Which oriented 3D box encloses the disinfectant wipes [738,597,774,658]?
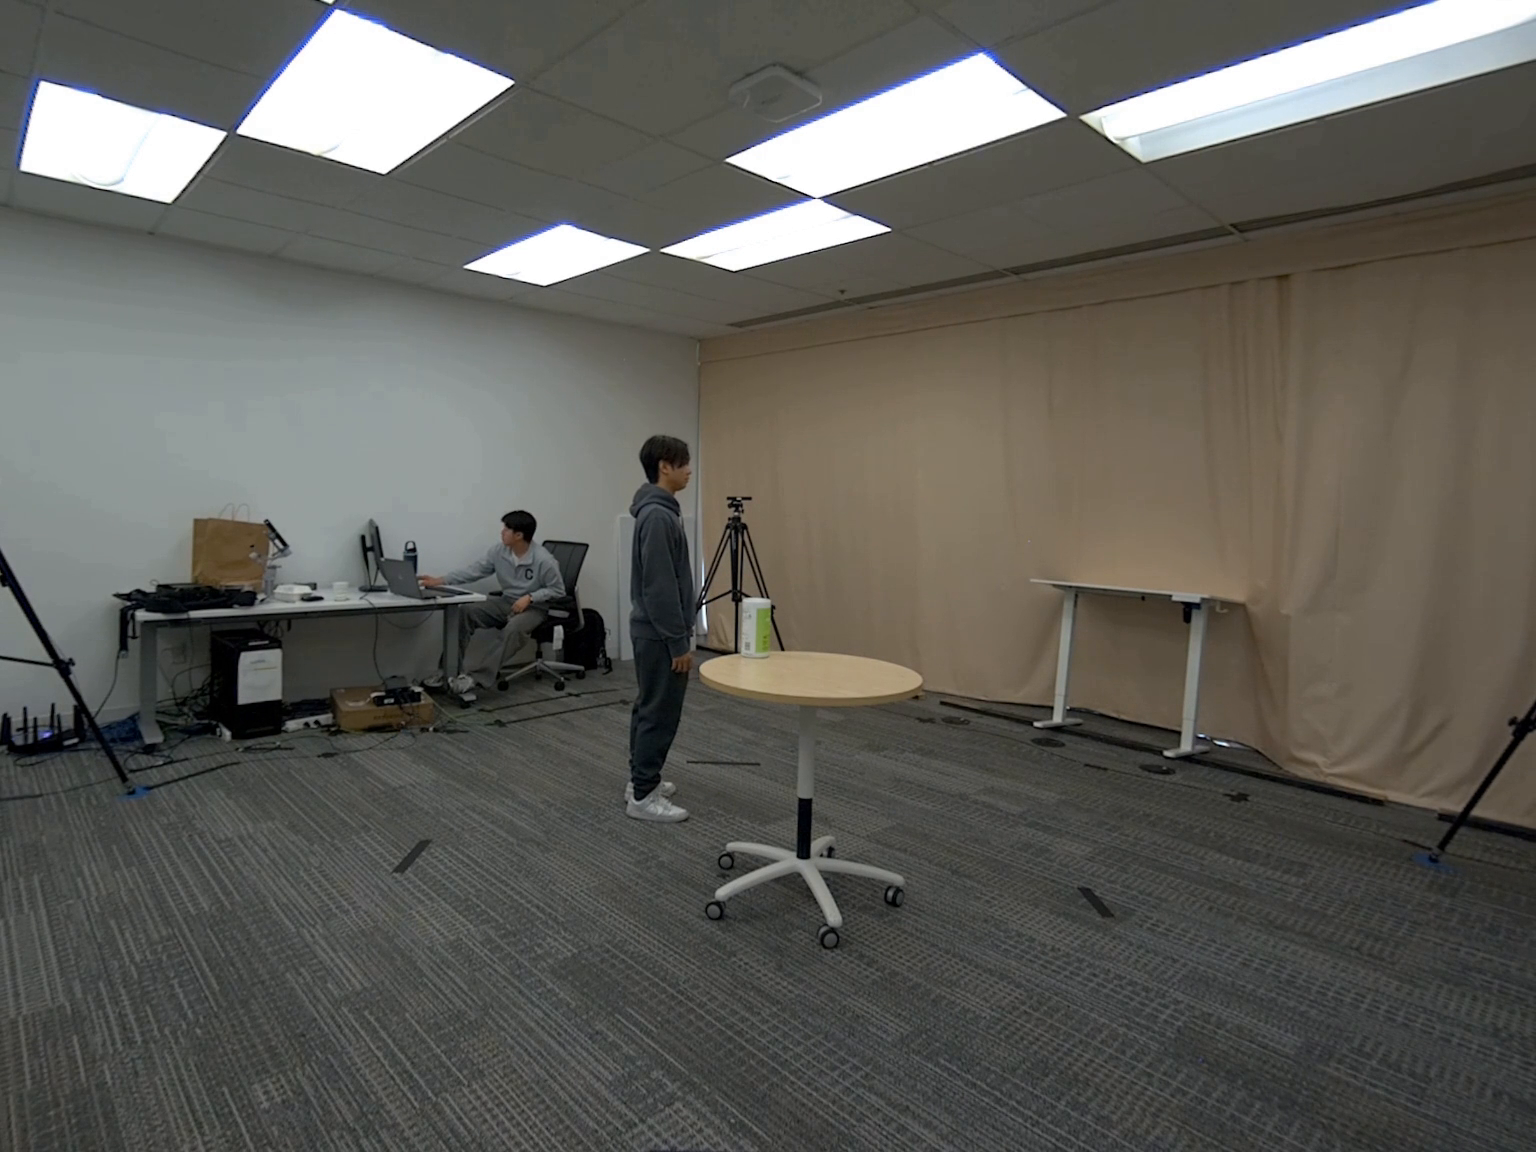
[{"bbox_3d":[-0.053,0.199,3.175,0.118,0.217,0.118,0,2,-1],"label":"disinfectant wipes"}]
